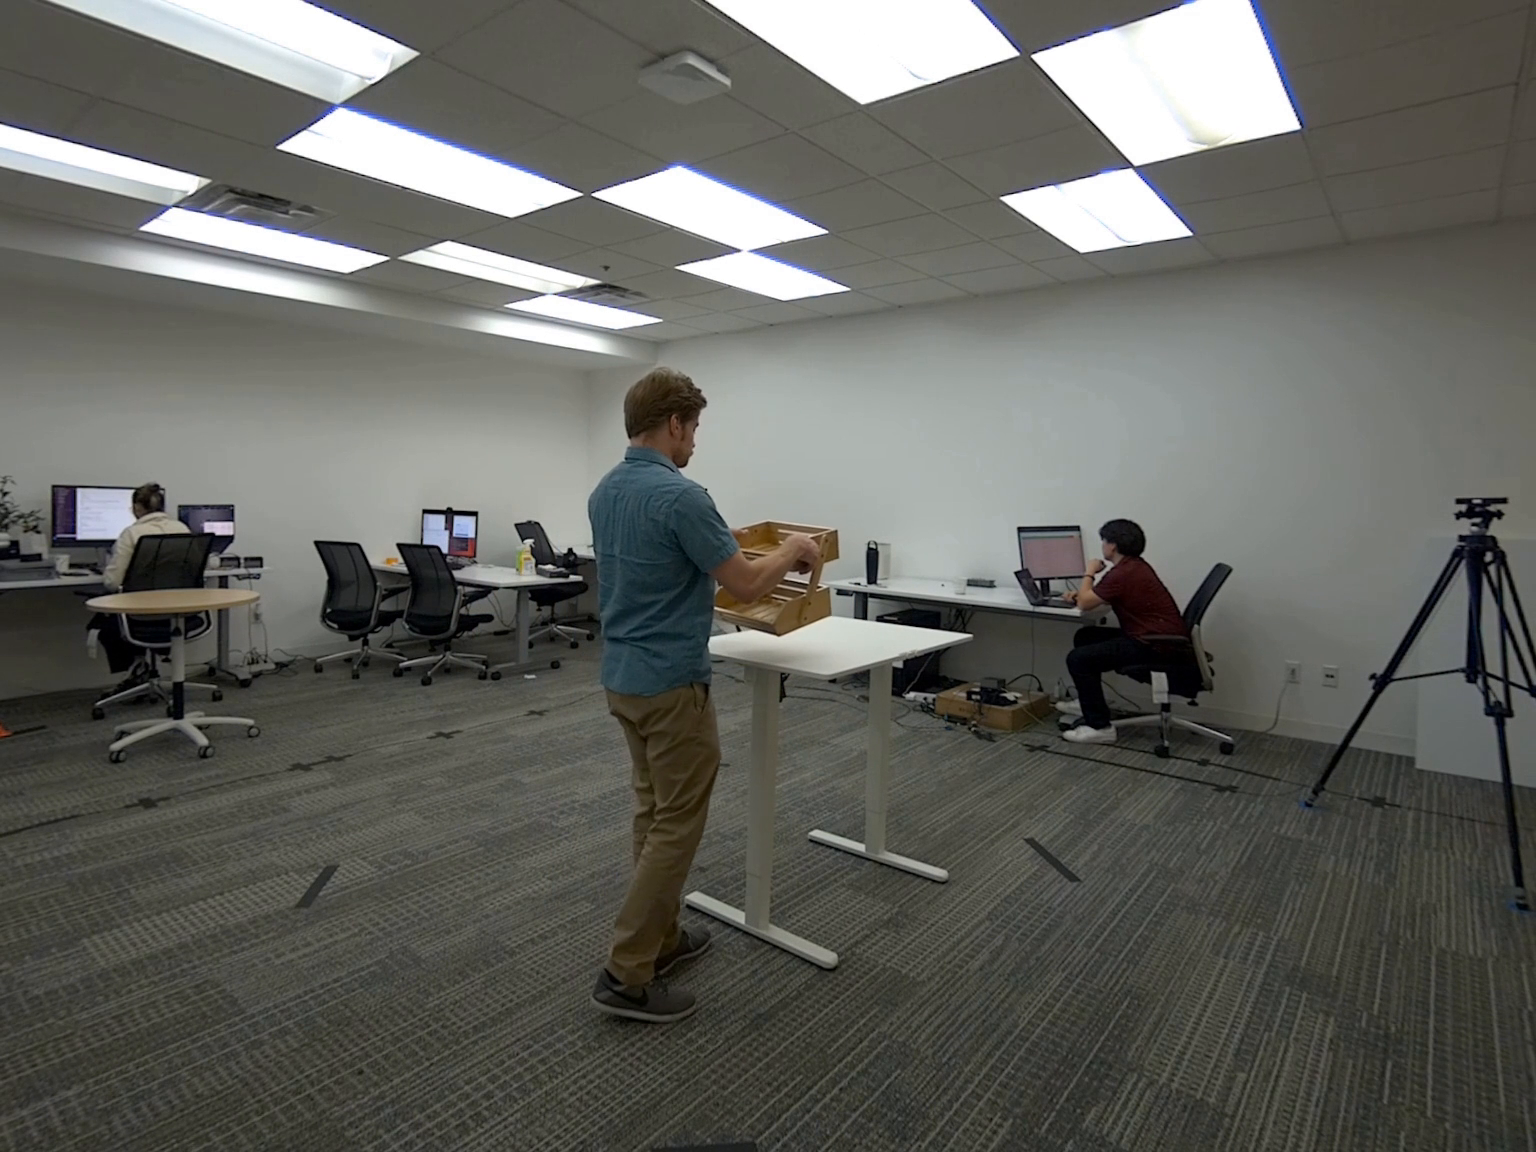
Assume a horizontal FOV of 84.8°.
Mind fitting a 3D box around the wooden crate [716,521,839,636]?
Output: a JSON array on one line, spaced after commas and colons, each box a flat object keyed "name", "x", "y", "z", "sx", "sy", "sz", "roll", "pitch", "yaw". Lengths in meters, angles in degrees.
[{"name": "wooden crate", "x": -0.001, "y": -0.004, "z": 2.607, "sx": 0.295, "sy": 0.270, "sz": 0.336, "roll": -16, "pitch": 18, "yaw": -40}]
